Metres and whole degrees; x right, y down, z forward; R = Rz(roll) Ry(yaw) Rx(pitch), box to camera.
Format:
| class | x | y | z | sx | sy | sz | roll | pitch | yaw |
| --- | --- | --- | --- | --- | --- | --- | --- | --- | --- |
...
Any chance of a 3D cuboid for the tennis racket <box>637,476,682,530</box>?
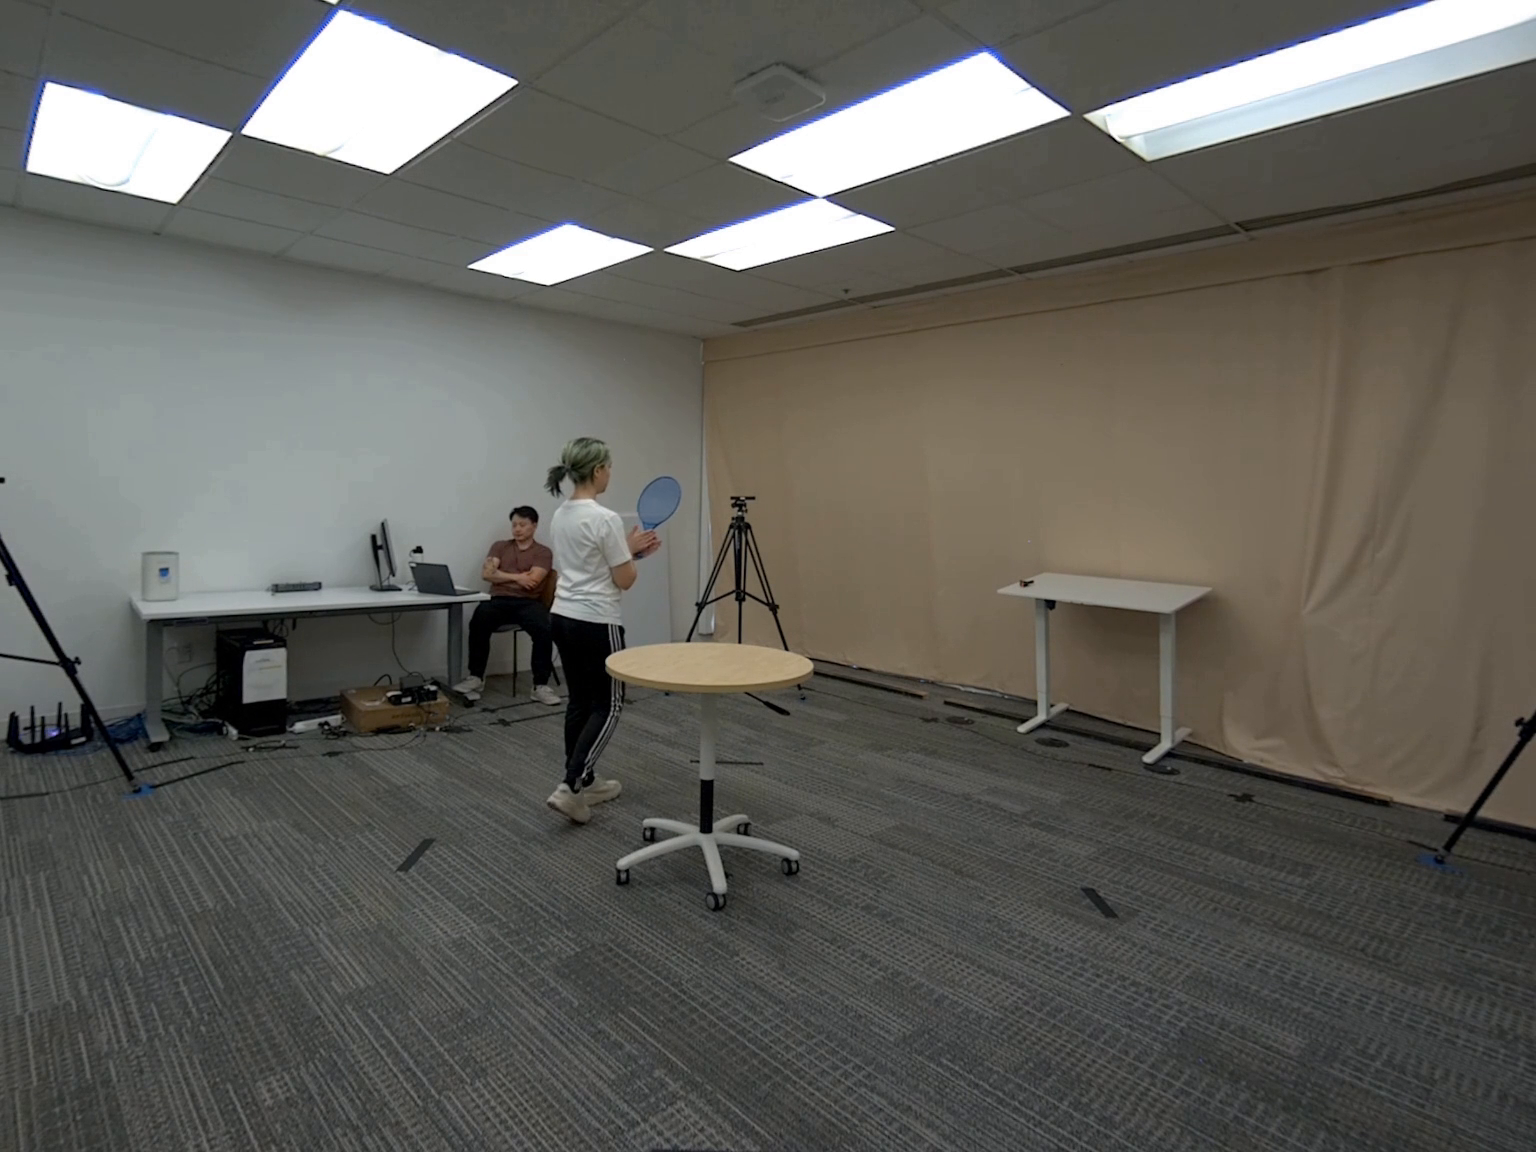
| class | x | y | z | sx | sy | sz | roll | pitch | yaw |
| --- | --- | --- | --- | --- | --- | --- | --- | --- | --- |
| tennis racket | -0.563 | -0.284 | 3.930 | 0.218 | 0.436 | 0.031 | 13 | -23 | 26 |
